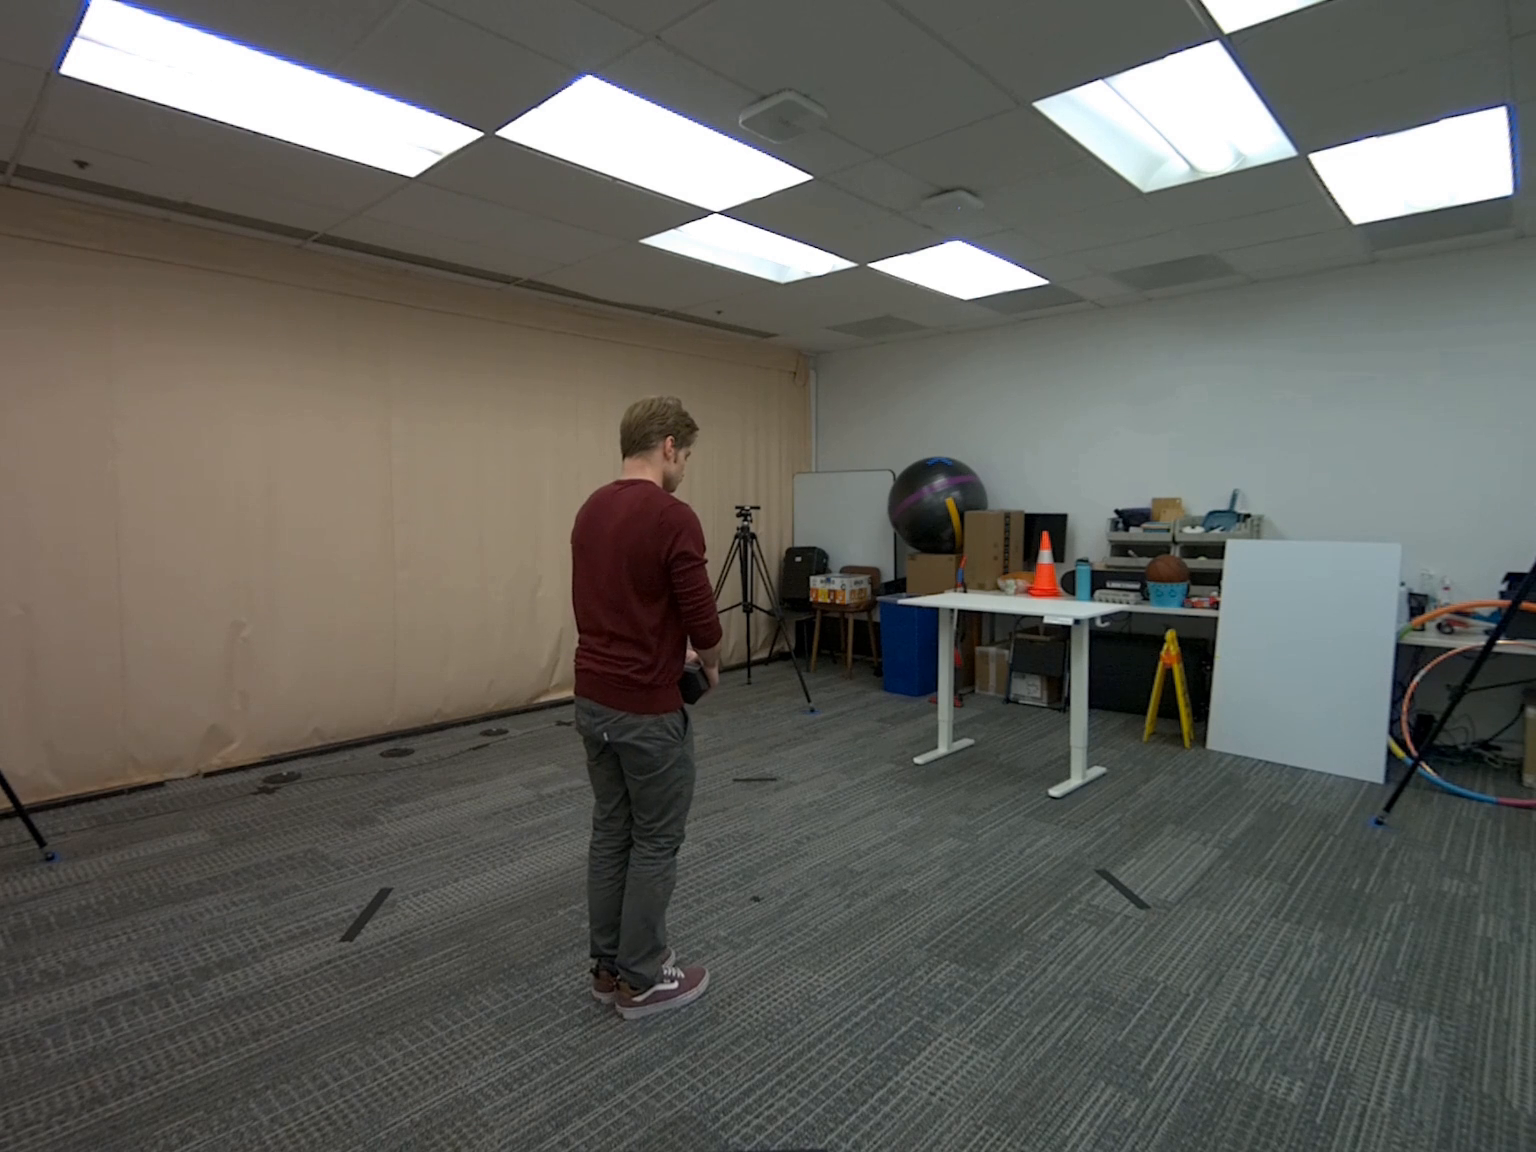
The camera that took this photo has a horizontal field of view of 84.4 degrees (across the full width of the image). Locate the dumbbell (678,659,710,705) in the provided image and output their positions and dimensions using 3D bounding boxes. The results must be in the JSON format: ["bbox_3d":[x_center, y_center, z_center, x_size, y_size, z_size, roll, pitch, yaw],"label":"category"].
[{"bbox_3d":[-0.217,0.298,2.519,0.109,0.123,0.293,39,10,-2],"label":"dumbbell"}]
